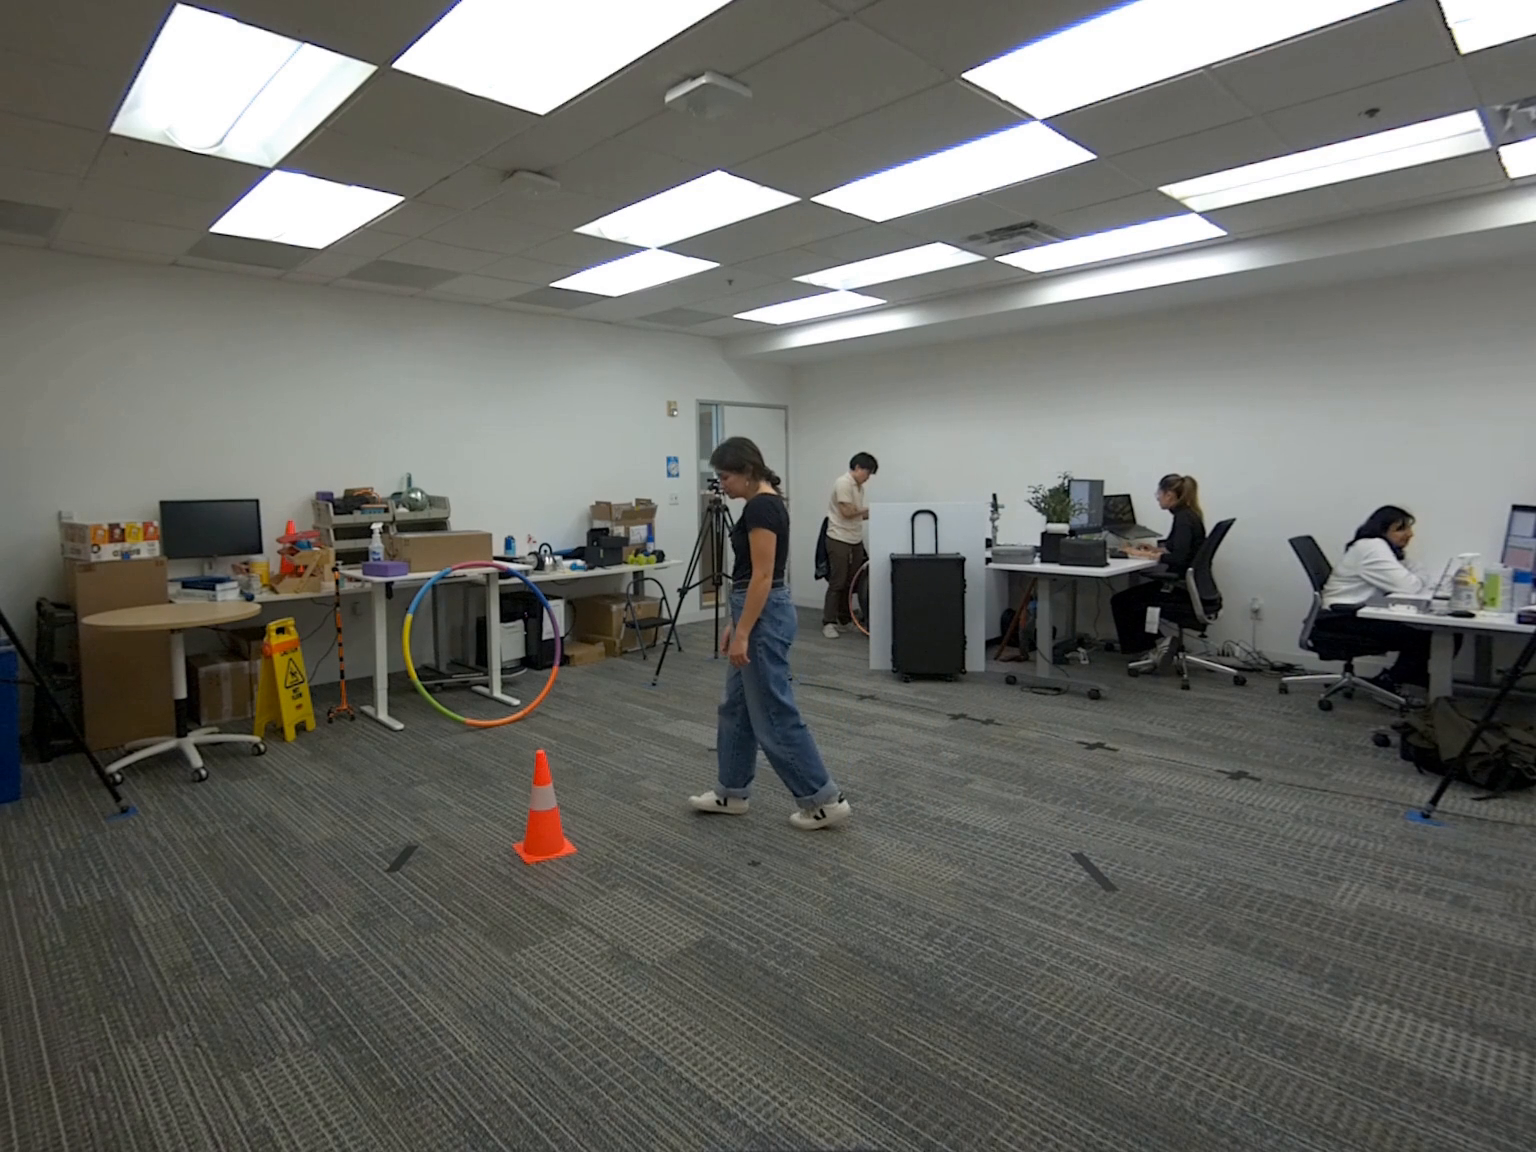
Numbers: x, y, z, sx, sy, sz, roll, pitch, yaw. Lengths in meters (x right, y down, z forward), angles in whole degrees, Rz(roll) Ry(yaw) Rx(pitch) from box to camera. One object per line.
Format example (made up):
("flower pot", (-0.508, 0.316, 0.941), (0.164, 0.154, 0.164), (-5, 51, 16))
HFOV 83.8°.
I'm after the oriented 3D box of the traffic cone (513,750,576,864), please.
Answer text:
("traffic cone", (-0.860, 0.858, 3.267), (0.198, 0.383, 0.210), (-2, 3, -31))
